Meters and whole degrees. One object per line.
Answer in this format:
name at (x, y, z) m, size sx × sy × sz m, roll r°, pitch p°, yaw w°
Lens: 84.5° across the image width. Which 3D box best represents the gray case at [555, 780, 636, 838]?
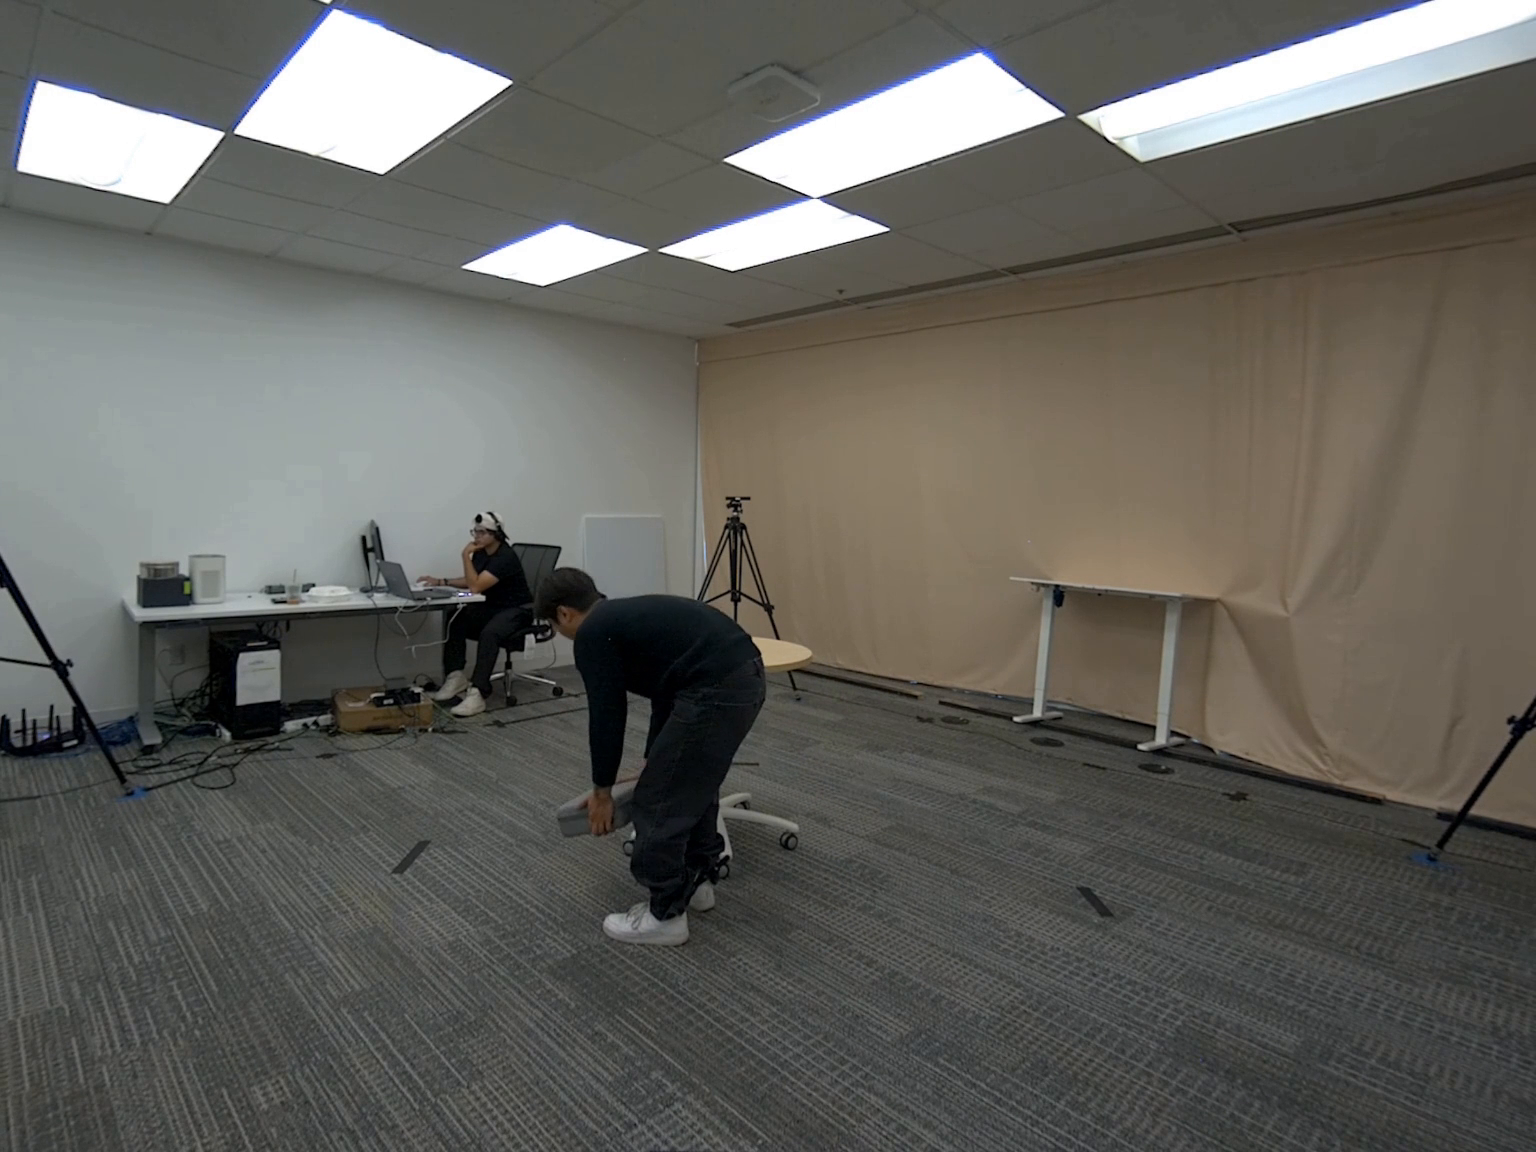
gray case at (-0.540, 0.768, 2.823) m, size 0.263 × 0.105 × 0.253 m, roll -16°, pitch -2°, yaw 22°
